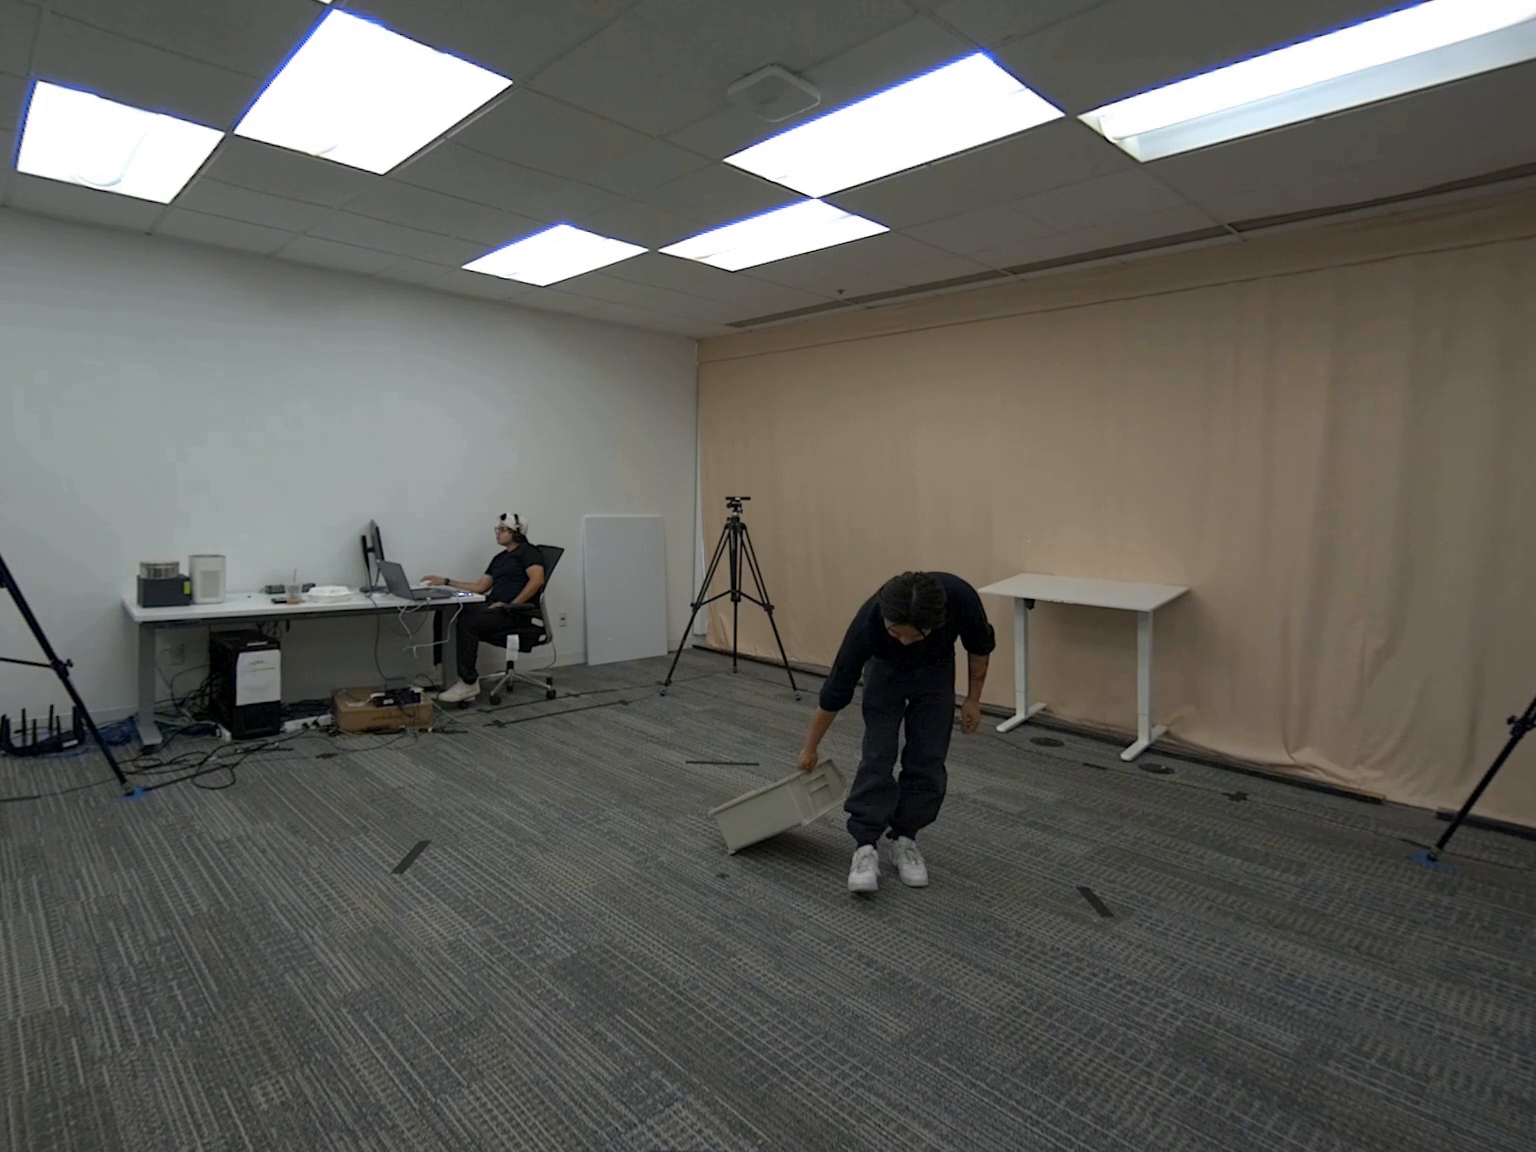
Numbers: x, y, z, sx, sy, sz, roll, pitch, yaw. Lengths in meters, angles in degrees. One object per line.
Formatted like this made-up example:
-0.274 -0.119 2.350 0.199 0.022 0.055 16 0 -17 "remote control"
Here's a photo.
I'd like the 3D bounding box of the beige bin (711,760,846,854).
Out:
0.047 0.903 3.339 0.425 0.191 0.370 -31 -12 31 "beige bin"
